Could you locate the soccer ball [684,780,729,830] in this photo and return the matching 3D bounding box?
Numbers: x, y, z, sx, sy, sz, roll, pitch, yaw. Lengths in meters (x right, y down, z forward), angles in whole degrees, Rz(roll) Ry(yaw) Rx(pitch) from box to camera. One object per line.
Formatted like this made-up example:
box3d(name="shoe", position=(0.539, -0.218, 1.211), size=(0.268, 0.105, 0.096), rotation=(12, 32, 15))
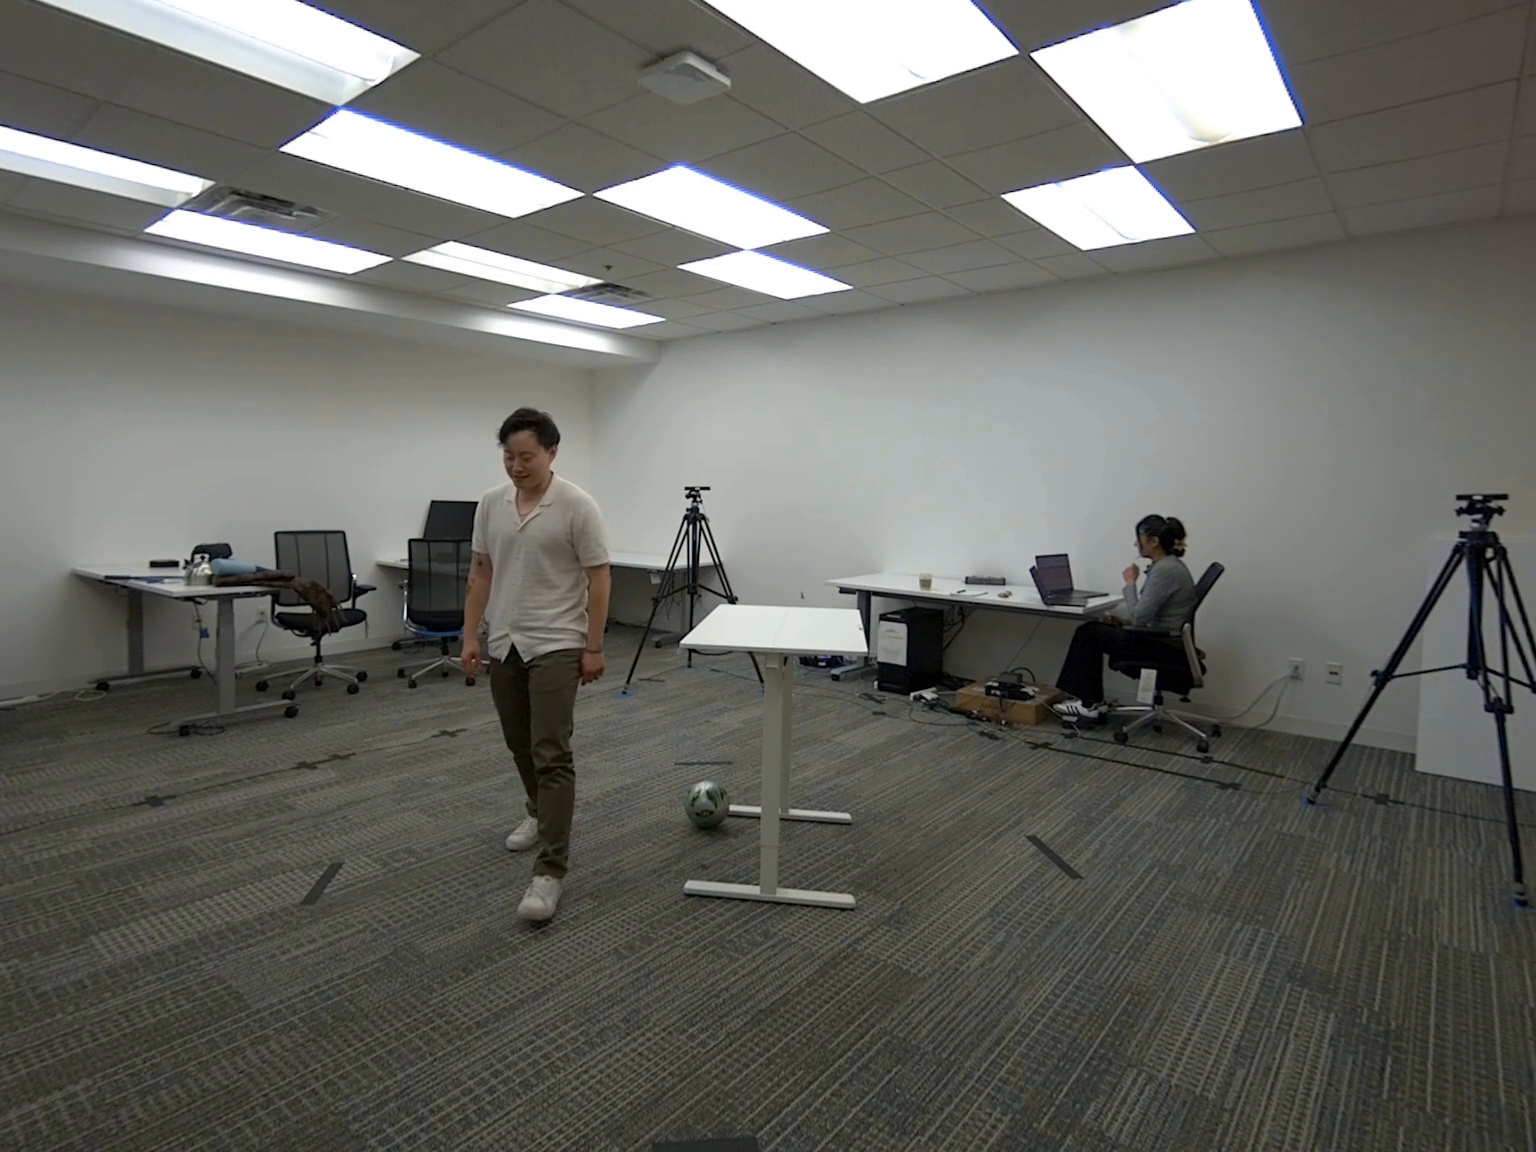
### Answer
box3d(name="soccer ball", position=(-0.259, 0.933, 3.488), size=(0.187, 0.187, 0.188), rotation=(1, 4, -2))
